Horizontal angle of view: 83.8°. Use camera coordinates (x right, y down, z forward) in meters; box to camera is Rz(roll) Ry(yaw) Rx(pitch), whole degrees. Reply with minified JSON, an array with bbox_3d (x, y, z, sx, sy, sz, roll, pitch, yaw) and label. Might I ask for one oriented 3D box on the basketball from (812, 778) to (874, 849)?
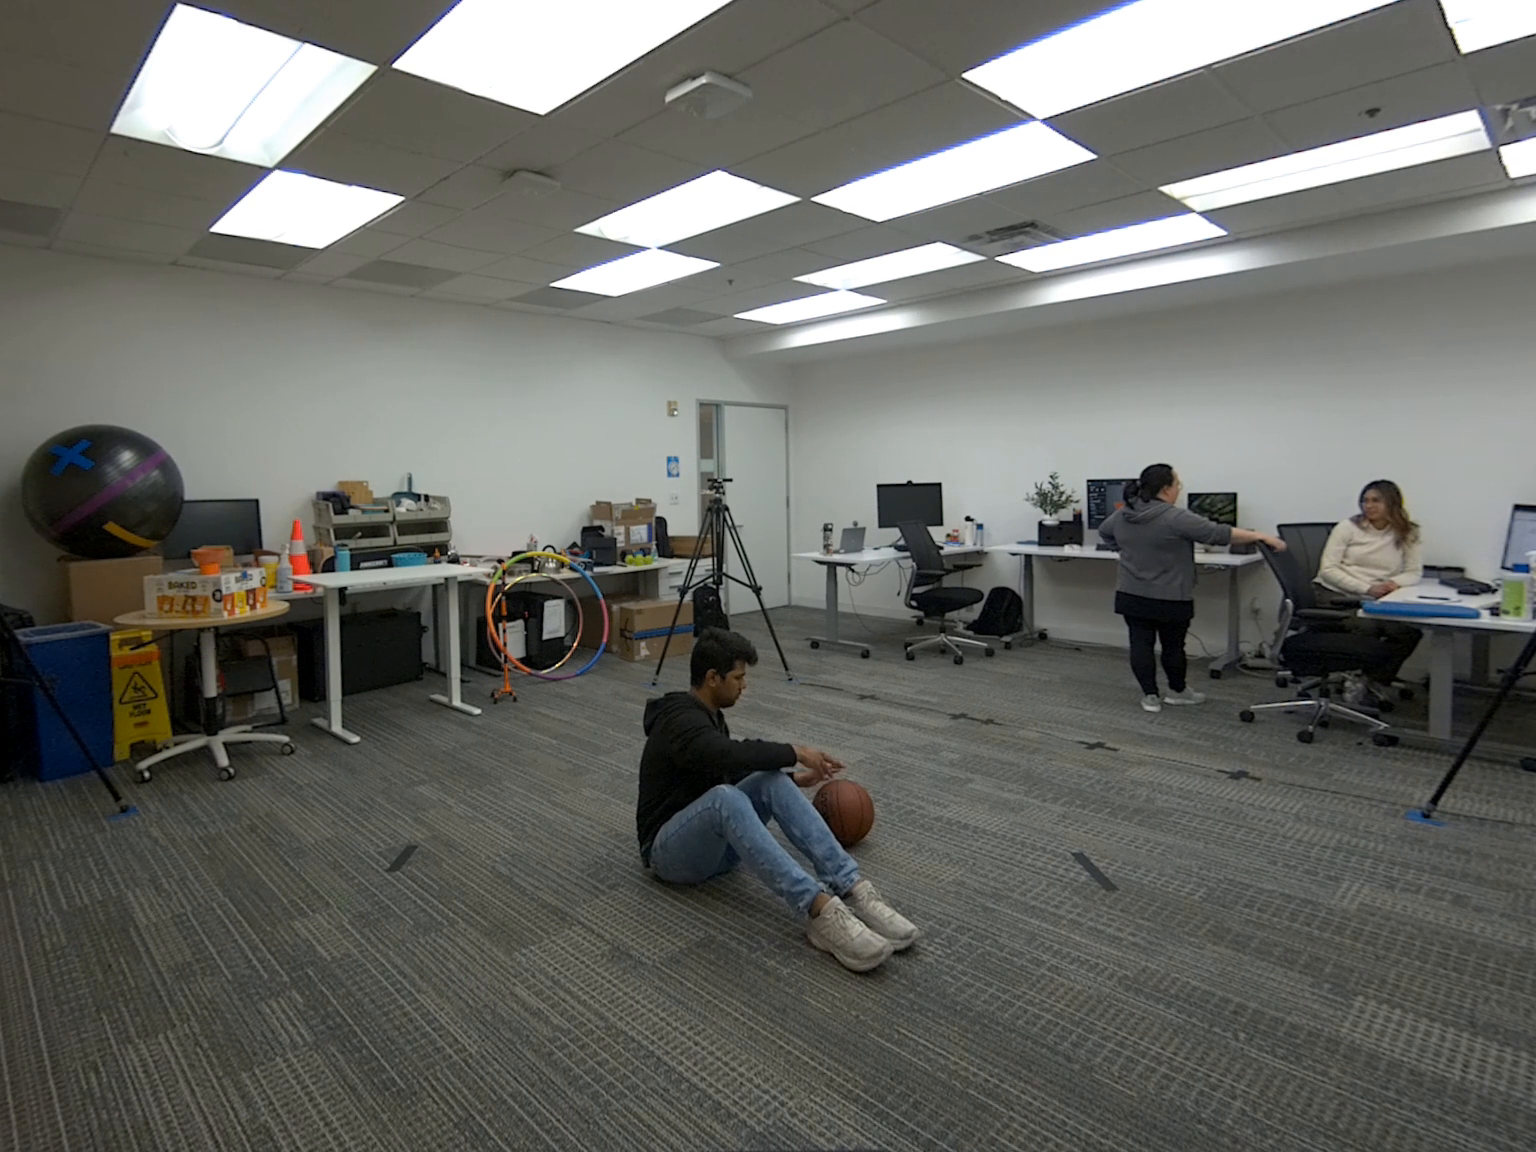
[{"bbox_3d":[0.286,0.893,3.263,0.236,0.235,0.237,-1,5,-2],"label":"basketball"}]
